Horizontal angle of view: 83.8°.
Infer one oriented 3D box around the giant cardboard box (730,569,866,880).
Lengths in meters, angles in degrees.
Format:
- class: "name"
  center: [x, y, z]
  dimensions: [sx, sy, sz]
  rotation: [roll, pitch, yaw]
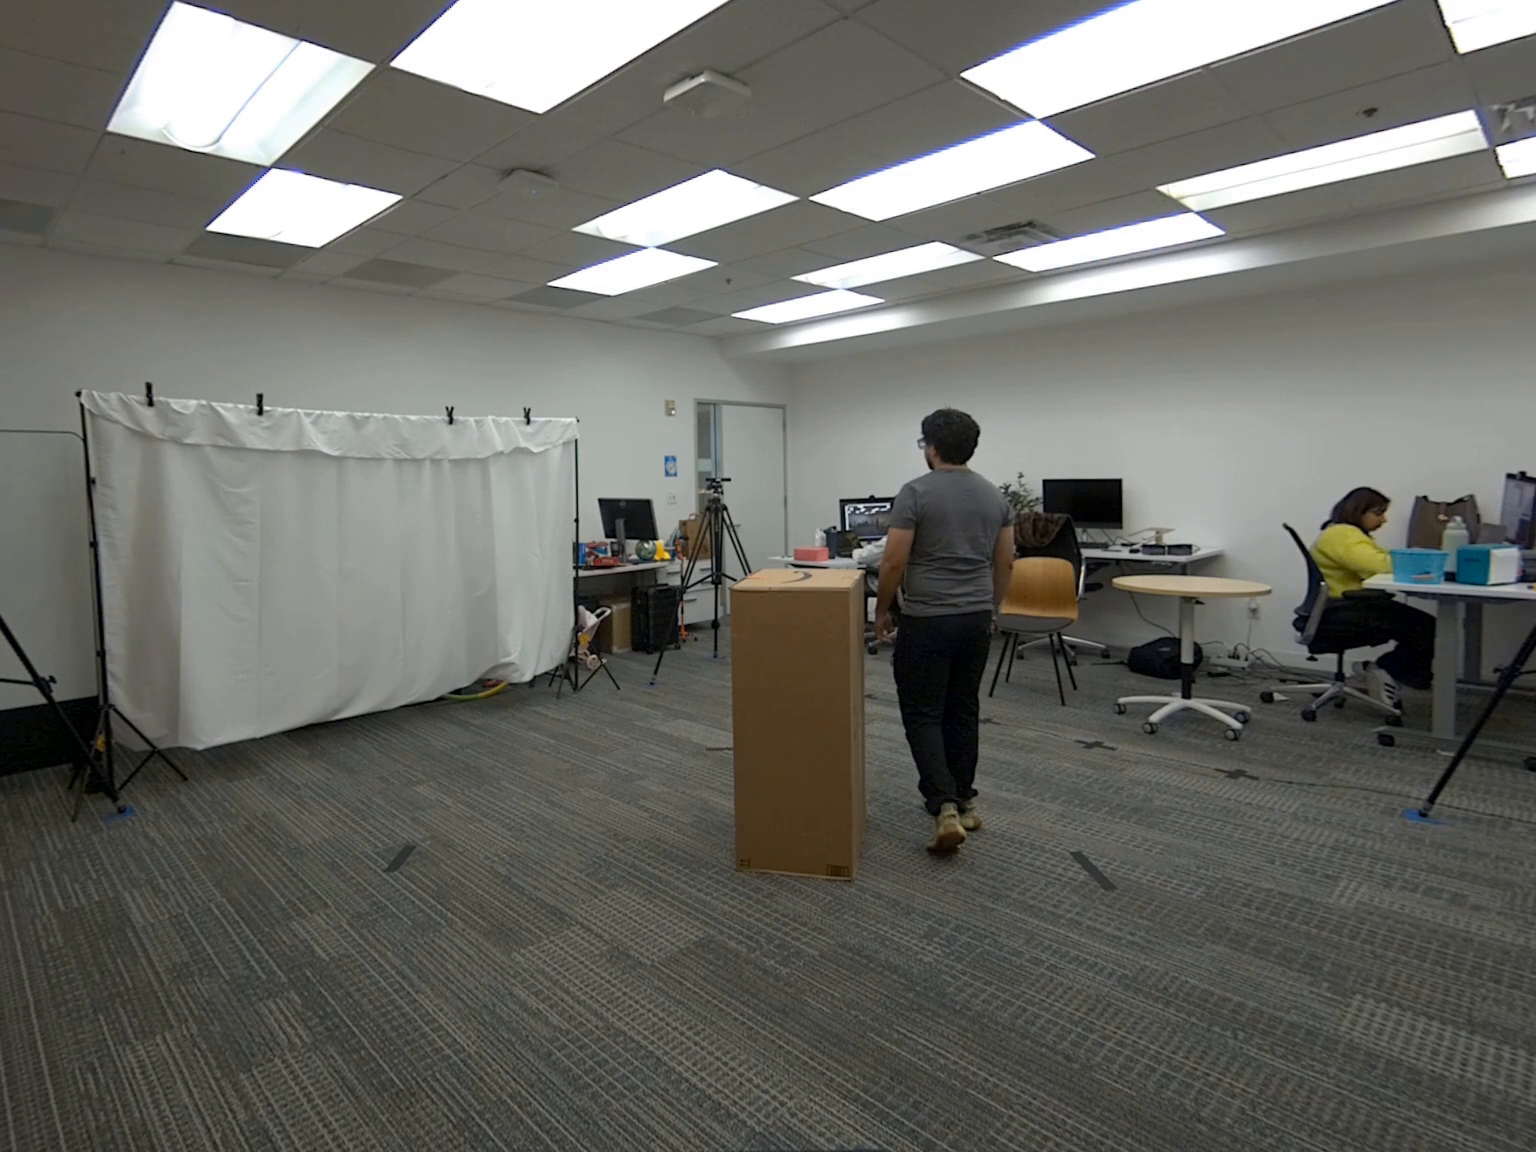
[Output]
- class: "giant cardboard box"
  center: [0.128, 0.515, 3.235]
  dimensions: [0.432, 1.022, 0.572]
  rotation: [0, 4, 13]
